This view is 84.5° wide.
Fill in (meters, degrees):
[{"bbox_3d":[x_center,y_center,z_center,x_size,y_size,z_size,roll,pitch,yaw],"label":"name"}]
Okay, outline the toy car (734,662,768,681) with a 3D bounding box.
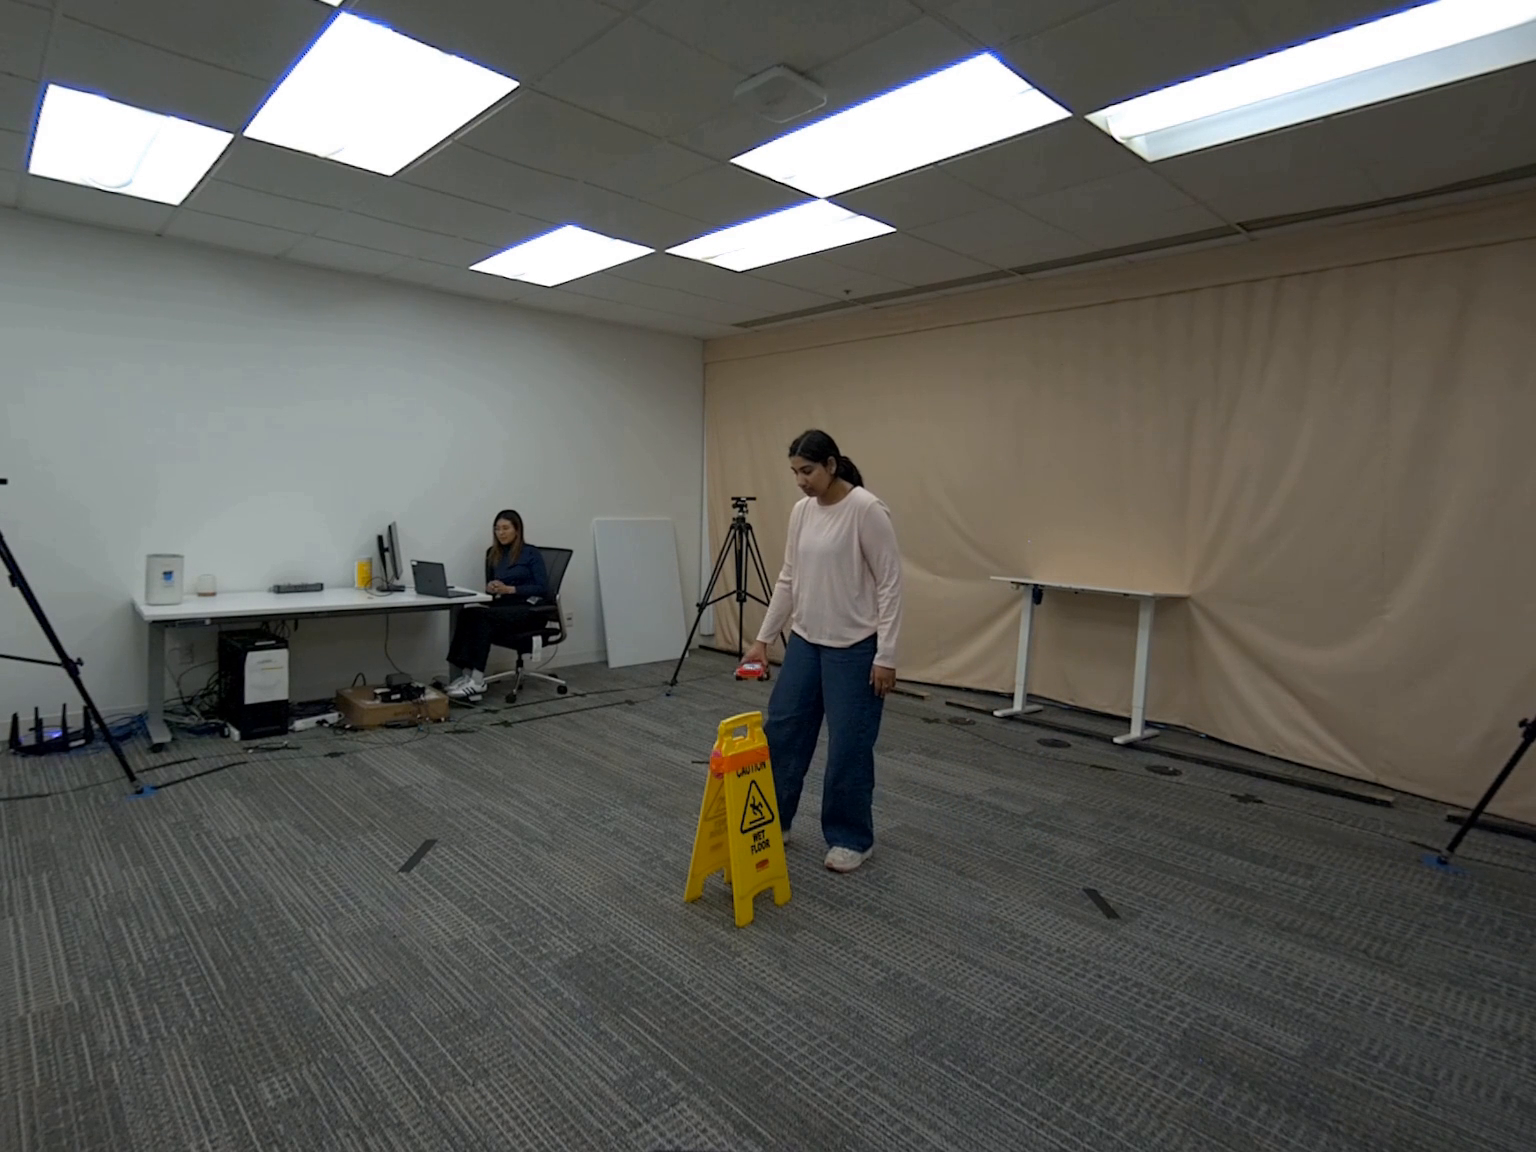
[{"bbox_3d":[-0.063,0.390,3.410,0.131,0.083,0.253,0,4,9],"label":"toy car"}]
